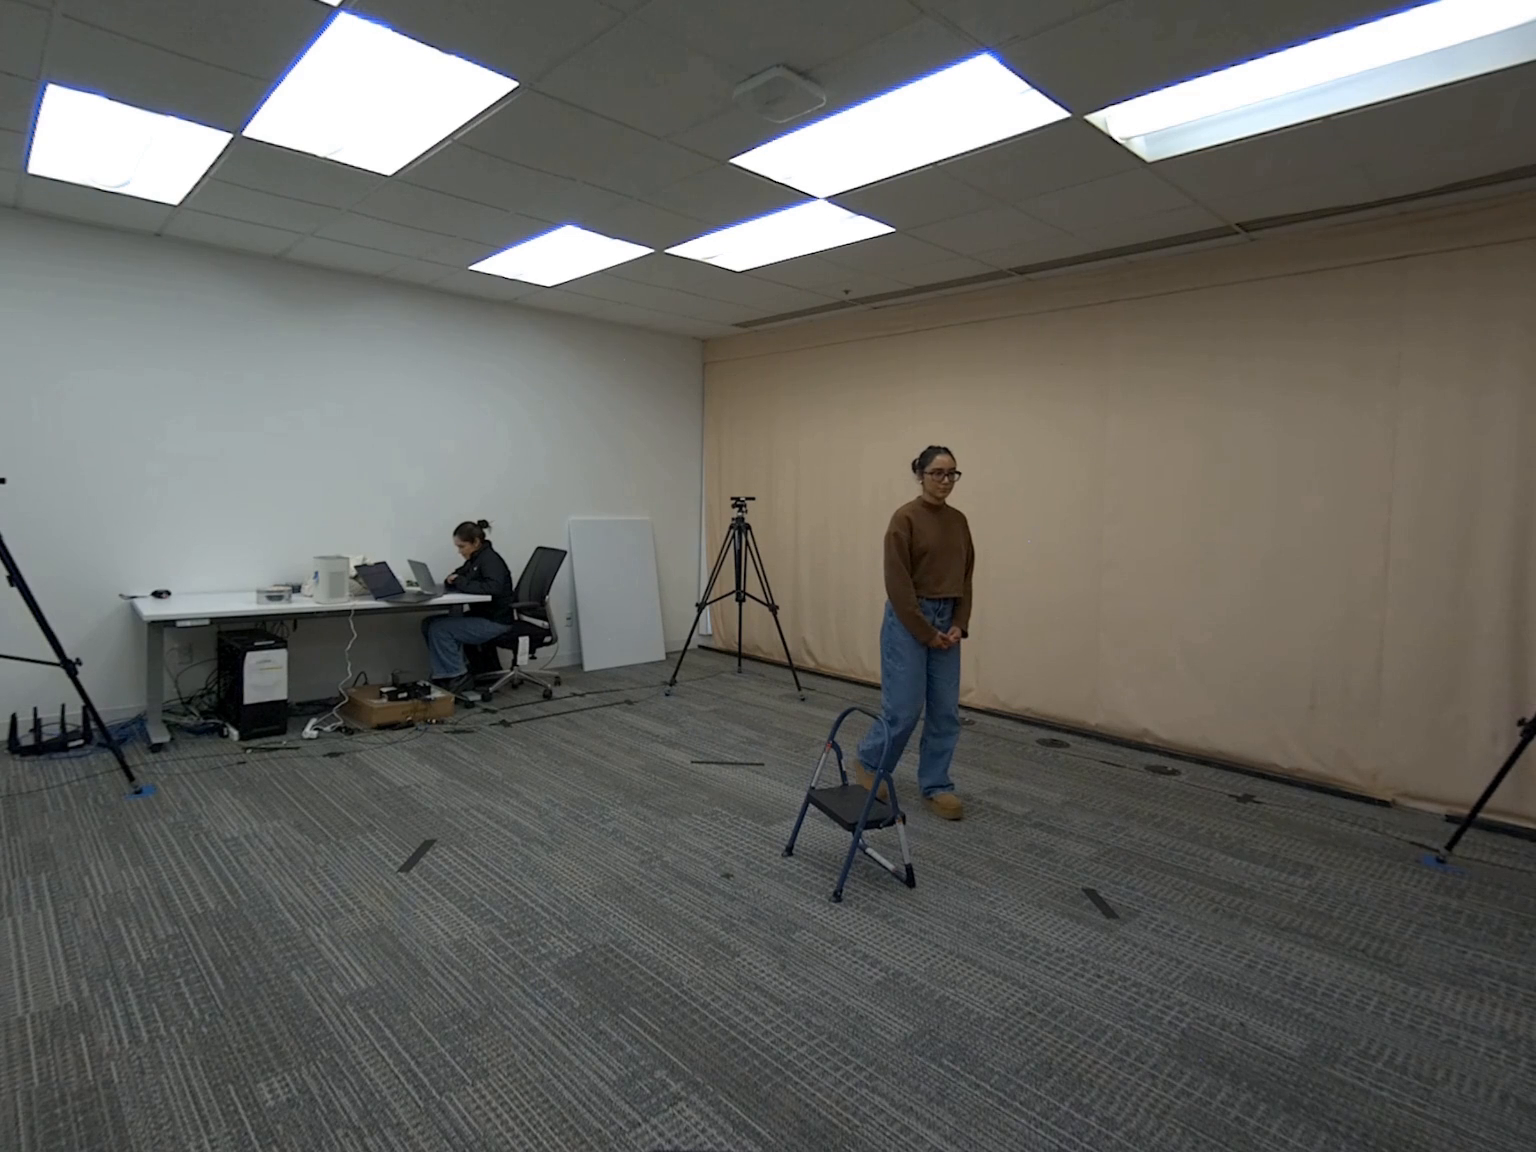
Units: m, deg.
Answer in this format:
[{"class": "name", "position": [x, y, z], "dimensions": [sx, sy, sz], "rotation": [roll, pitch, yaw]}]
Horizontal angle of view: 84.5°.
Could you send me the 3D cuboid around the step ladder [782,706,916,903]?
[{"class": "step ladder", "position": [0.298, 0.810, 3.153], "dimensions": [0.343, 0.604, 0.439], "rotation": [0, 4, -24]}]
